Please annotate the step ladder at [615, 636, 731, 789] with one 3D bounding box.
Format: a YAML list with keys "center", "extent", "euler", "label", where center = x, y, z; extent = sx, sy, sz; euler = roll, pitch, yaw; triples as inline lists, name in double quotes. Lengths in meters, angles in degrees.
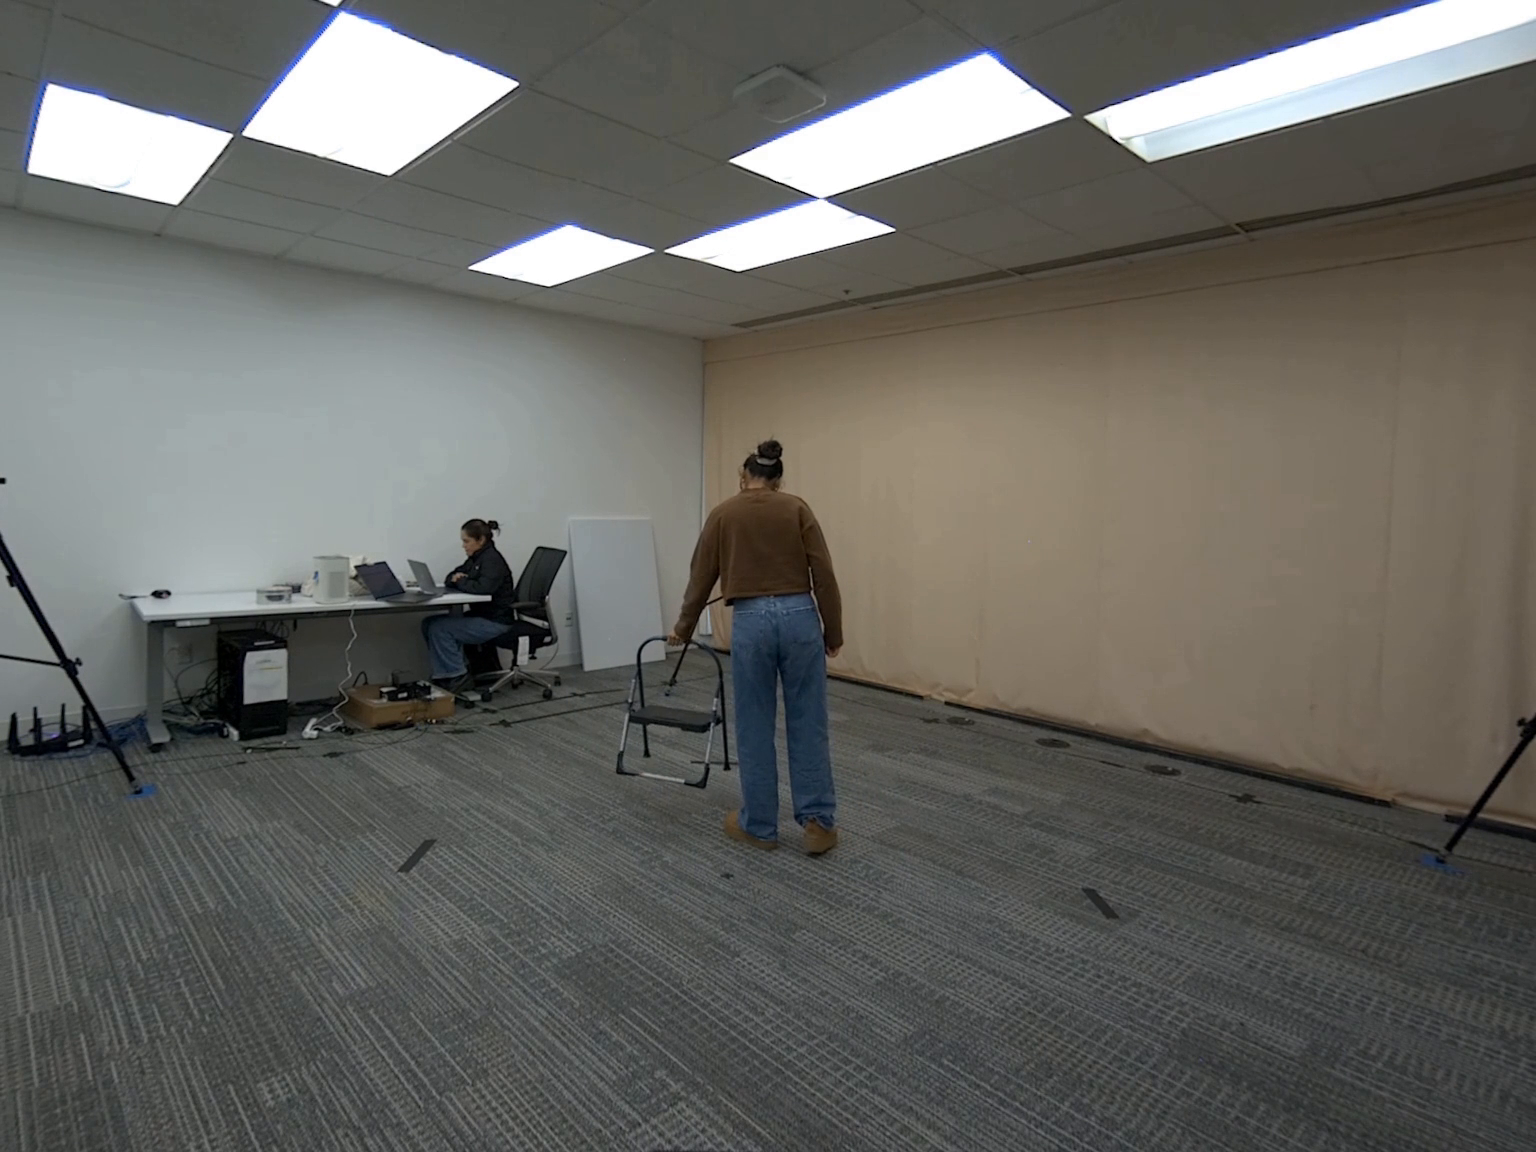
- center: [-0.408, 0.571, 3.724]
  extent: [0.436, 0.606, 0.344]
  euler: [3, 1, 16]
  label: "step ladder"
